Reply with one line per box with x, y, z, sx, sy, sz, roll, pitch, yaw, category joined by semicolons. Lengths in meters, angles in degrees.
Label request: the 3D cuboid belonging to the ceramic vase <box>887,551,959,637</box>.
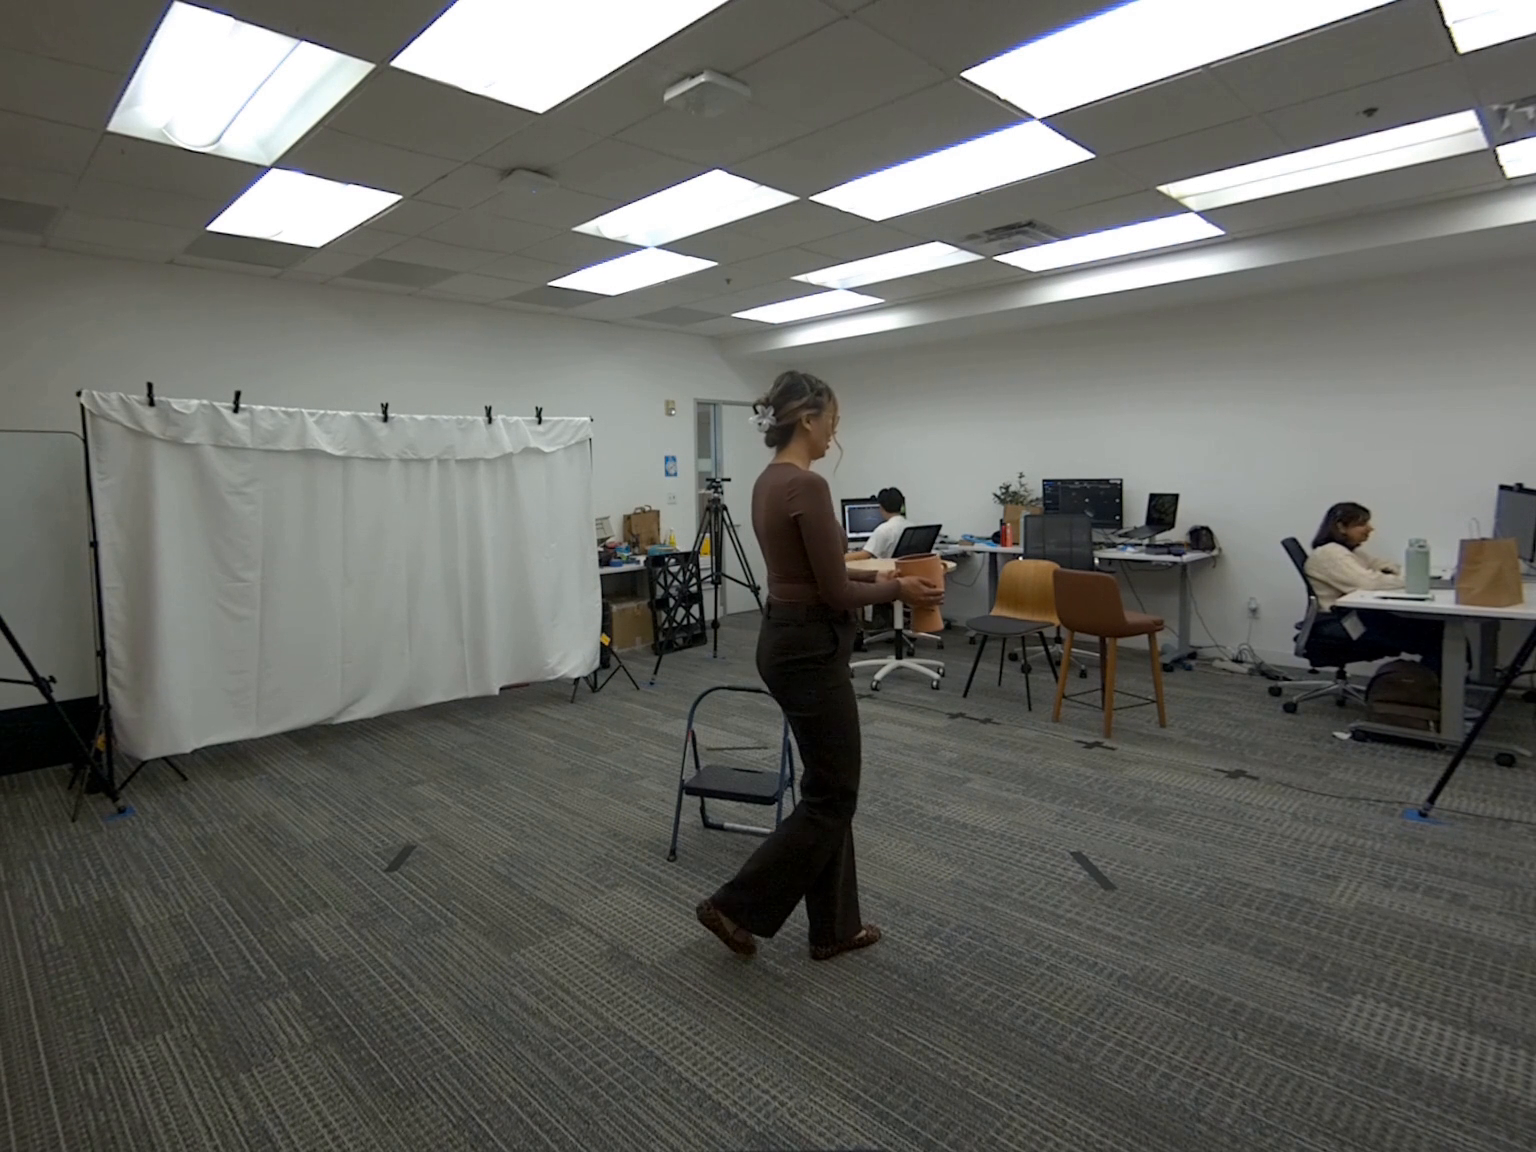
0.459;0.051;2.537;0.162;0.218;0.133;-5;6;25;ceramic vase
